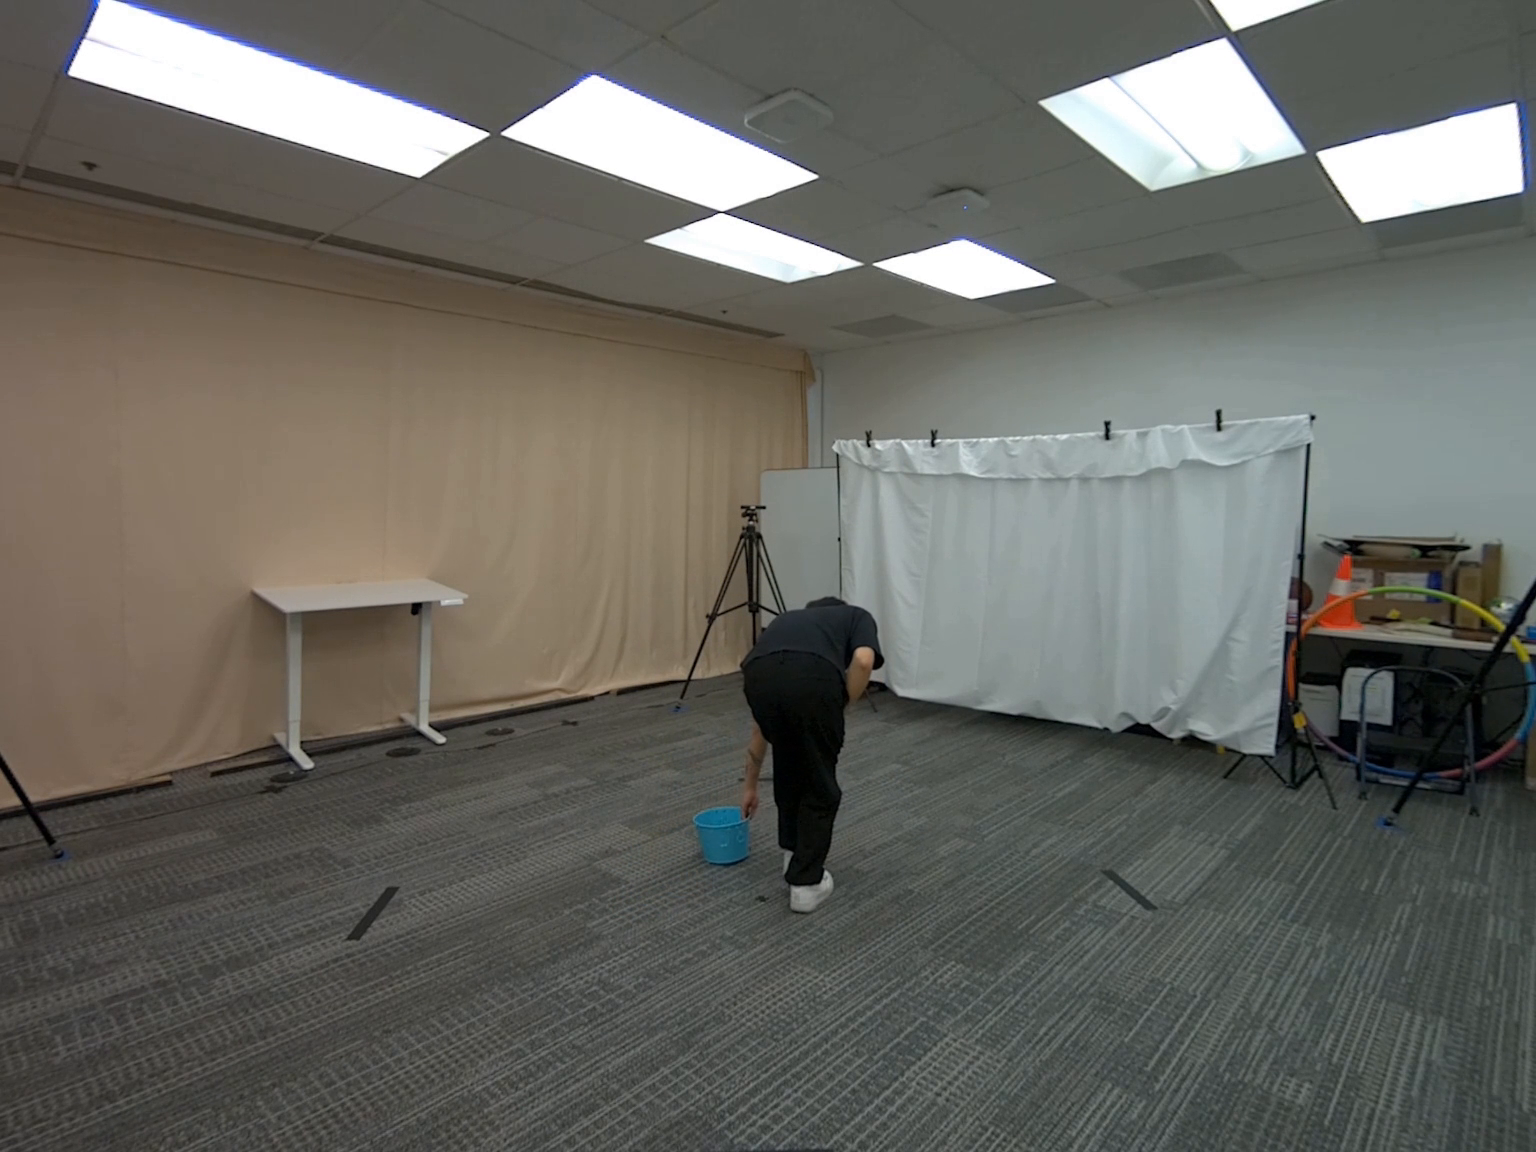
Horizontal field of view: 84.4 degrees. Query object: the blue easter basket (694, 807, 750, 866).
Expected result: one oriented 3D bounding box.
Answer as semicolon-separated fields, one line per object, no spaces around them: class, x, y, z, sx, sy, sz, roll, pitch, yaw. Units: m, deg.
blue easter basket;-0.171;1.028;3.334;0.243;0.156;0.244;-5;2;-2
